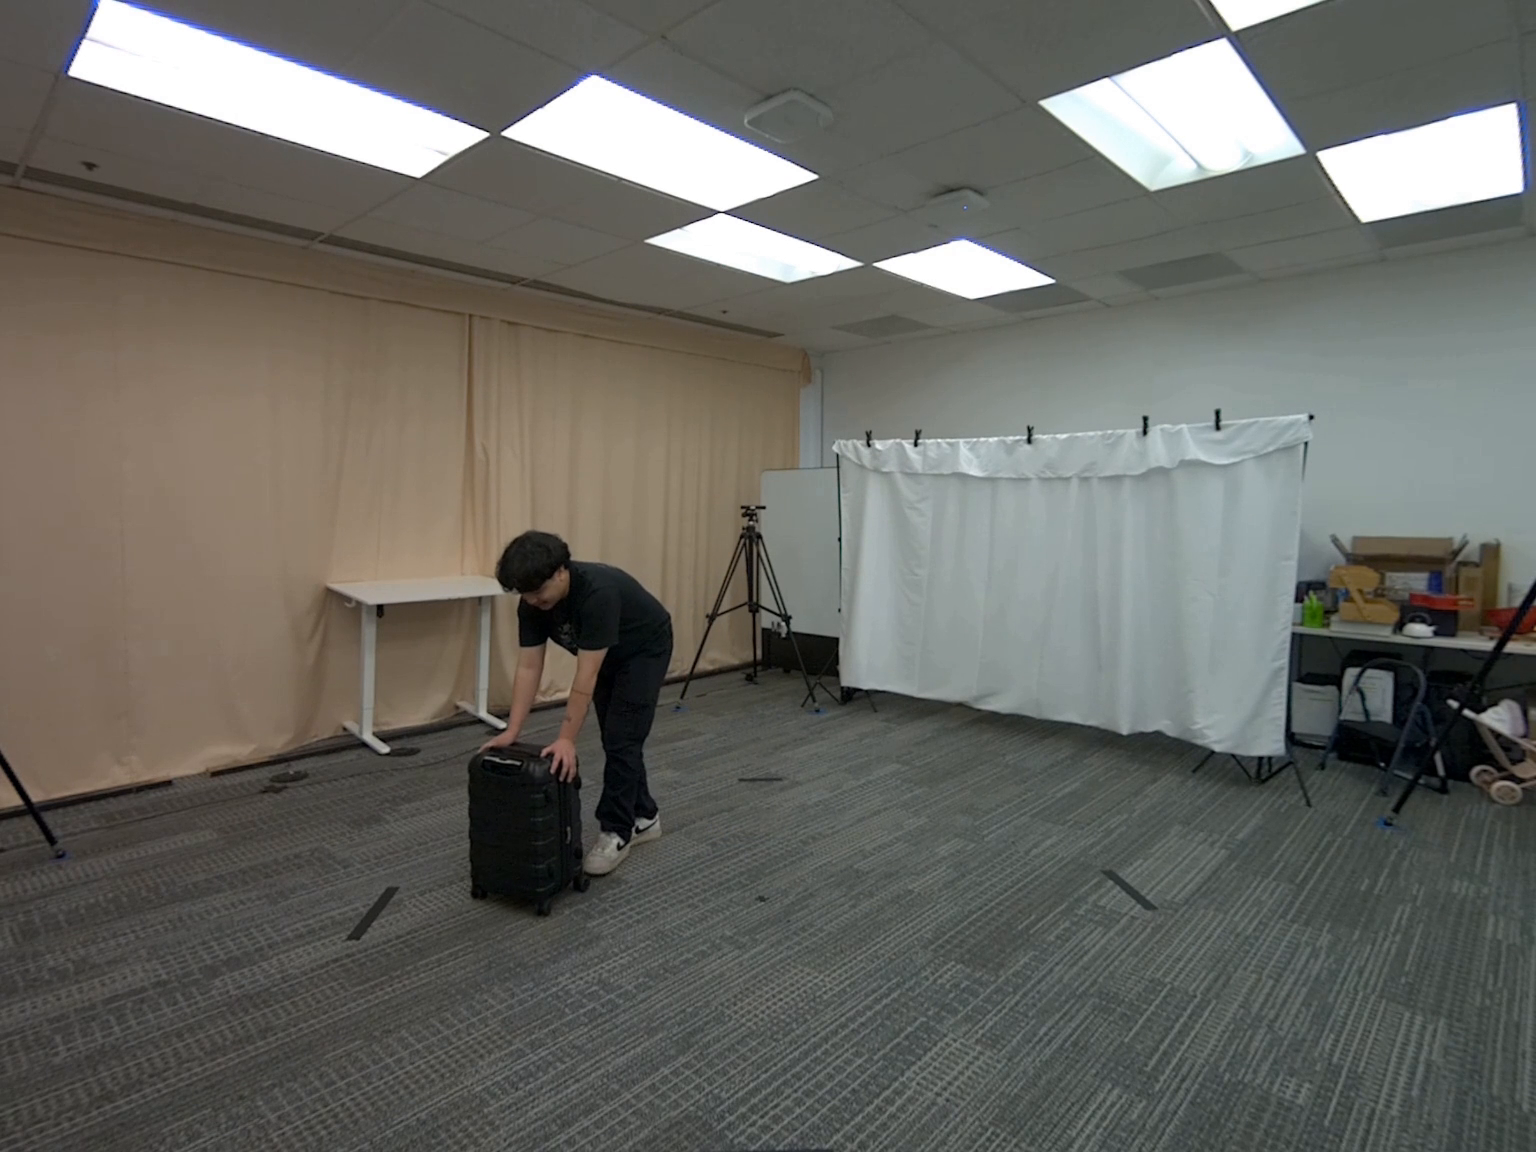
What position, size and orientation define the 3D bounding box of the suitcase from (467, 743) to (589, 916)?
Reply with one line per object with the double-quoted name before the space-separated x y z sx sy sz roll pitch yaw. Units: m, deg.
"suitcase" -0.868 0.874 3.004 0.385 0.548 0.243 1 4 25
